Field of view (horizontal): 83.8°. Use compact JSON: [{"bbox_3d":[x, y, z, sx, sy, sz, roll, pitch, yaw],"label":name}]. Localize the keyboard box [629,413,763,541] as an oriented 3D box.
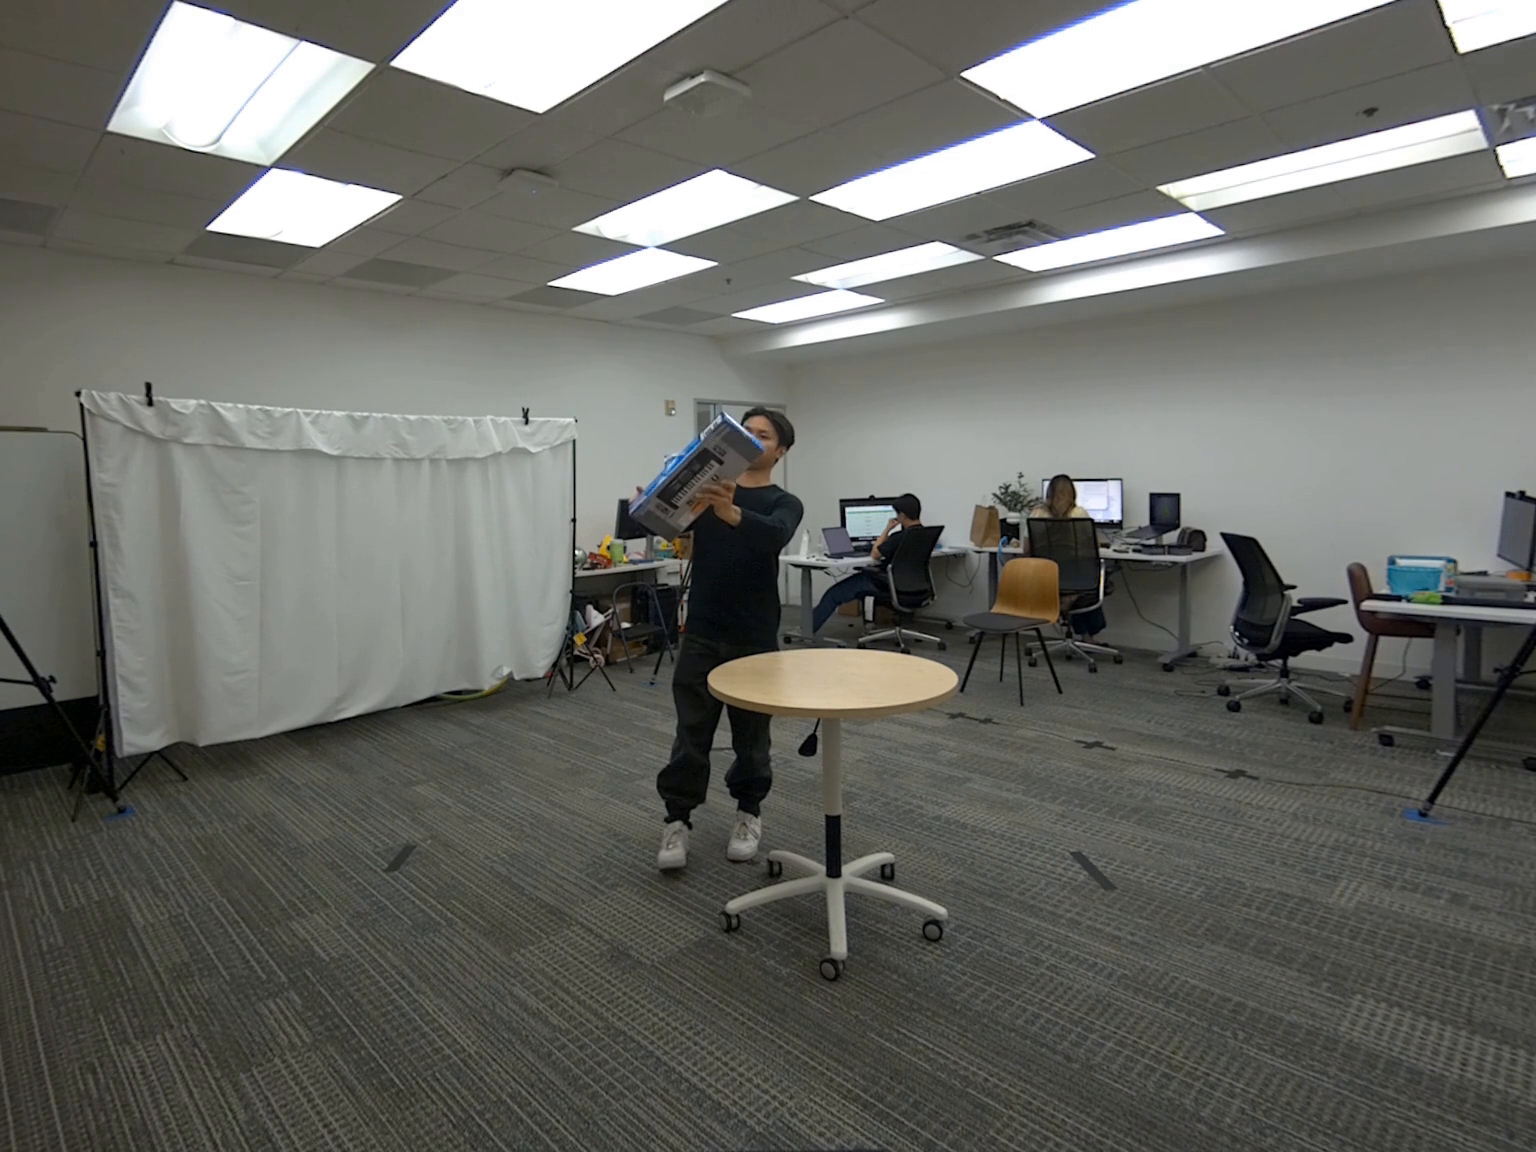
[{"bbox_3d":[-0.222,-0.299,2.644,0.170,0.437,0.061,37,23,-26],"label":"keyboard box"}]
